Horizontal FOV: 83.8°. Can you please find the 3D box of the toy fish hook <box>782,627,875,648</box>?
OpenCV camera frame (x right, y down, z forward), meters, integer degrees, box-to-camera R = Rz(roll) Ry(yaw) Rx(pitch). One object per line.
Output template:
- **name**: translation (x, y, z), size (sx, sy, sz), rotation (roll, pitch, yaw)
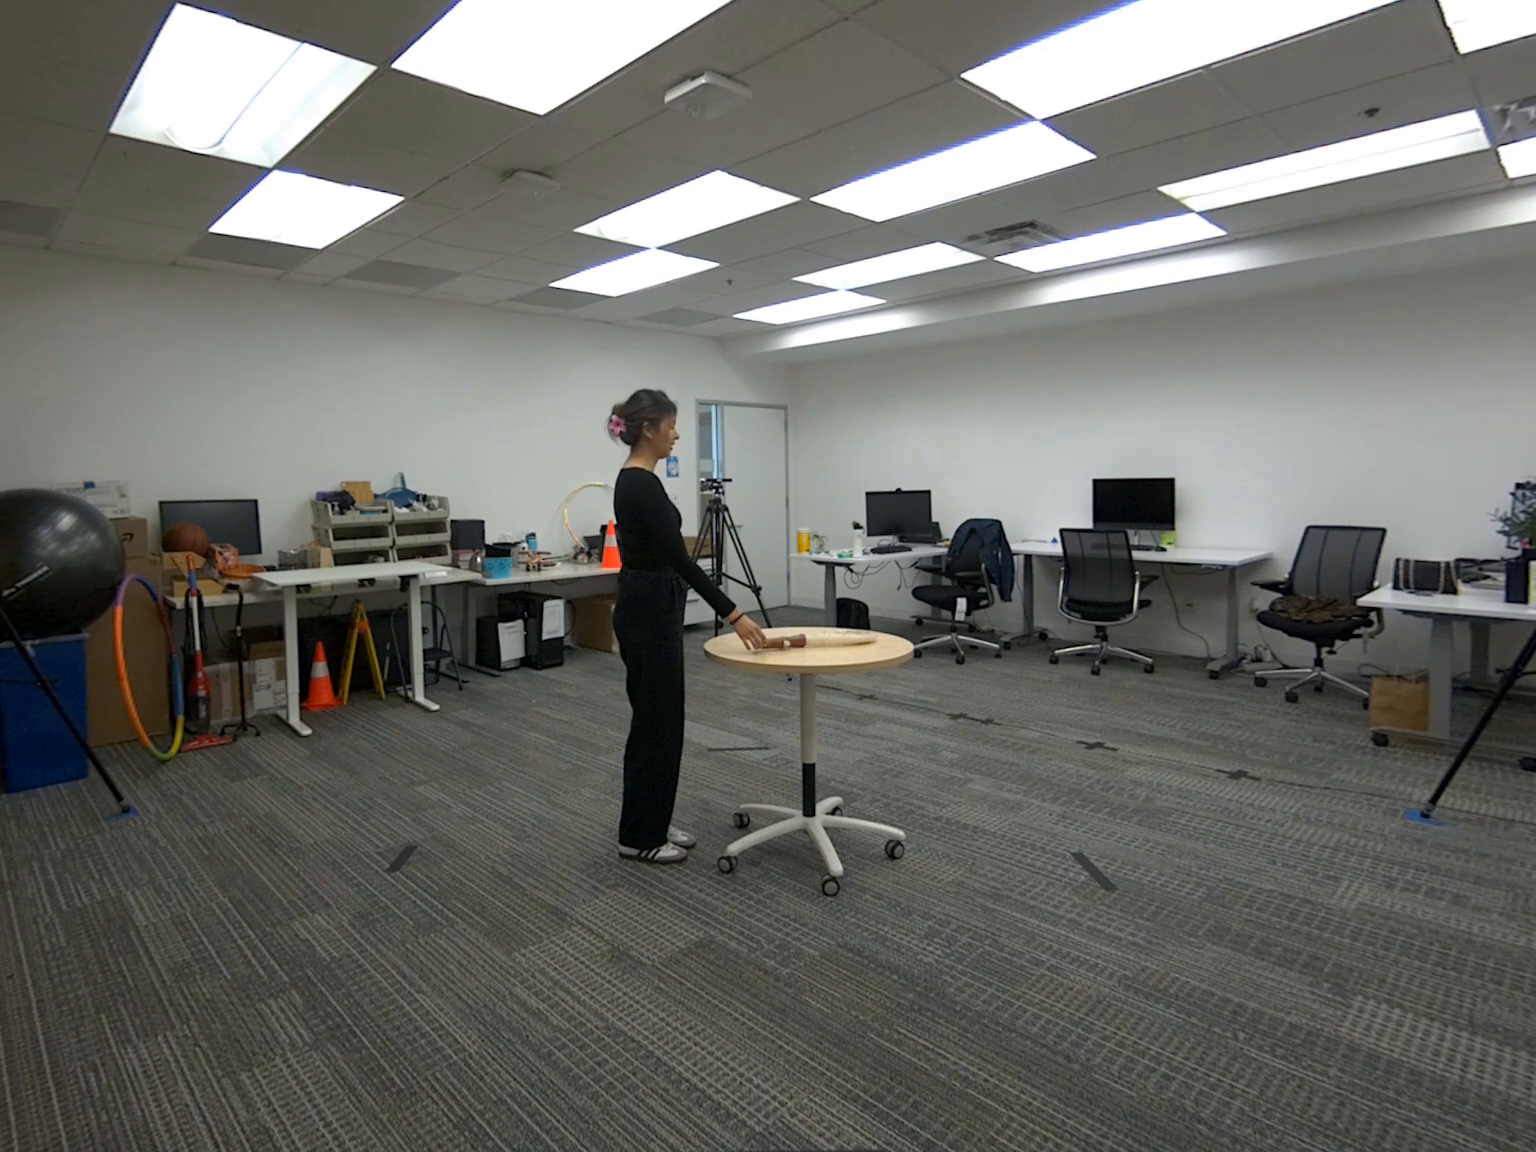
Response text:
- **toy fish hook**: translation (0.150, 0.238, 3.159), size (0.497, 0.048, 0.229), rotation (-2, 0, -22)
